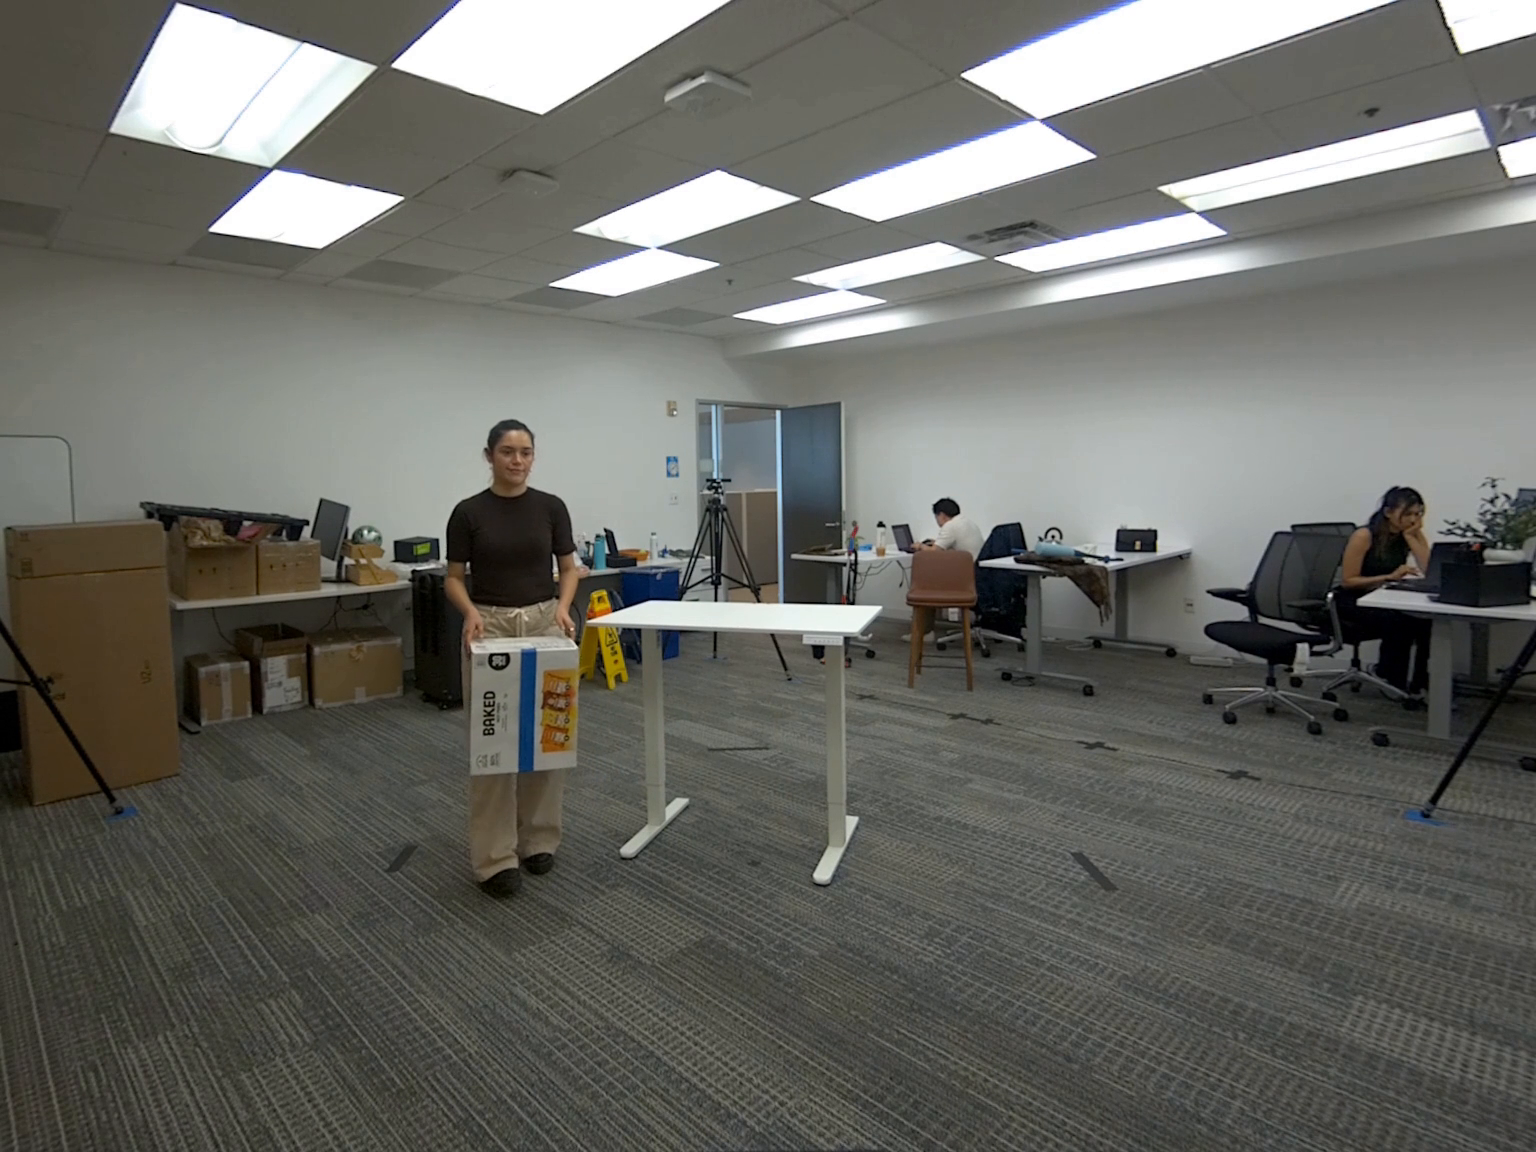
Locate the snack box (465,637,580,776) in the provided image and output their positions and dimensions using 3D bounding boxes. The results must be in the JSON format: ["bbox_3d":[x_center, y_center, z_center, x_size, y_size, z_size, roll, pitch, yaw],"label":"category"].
[{"bbox_3d":[-0.825,0.428,2.844,0.334,0.403,0.211,-1,6,-21],"label":"snack box"}]
